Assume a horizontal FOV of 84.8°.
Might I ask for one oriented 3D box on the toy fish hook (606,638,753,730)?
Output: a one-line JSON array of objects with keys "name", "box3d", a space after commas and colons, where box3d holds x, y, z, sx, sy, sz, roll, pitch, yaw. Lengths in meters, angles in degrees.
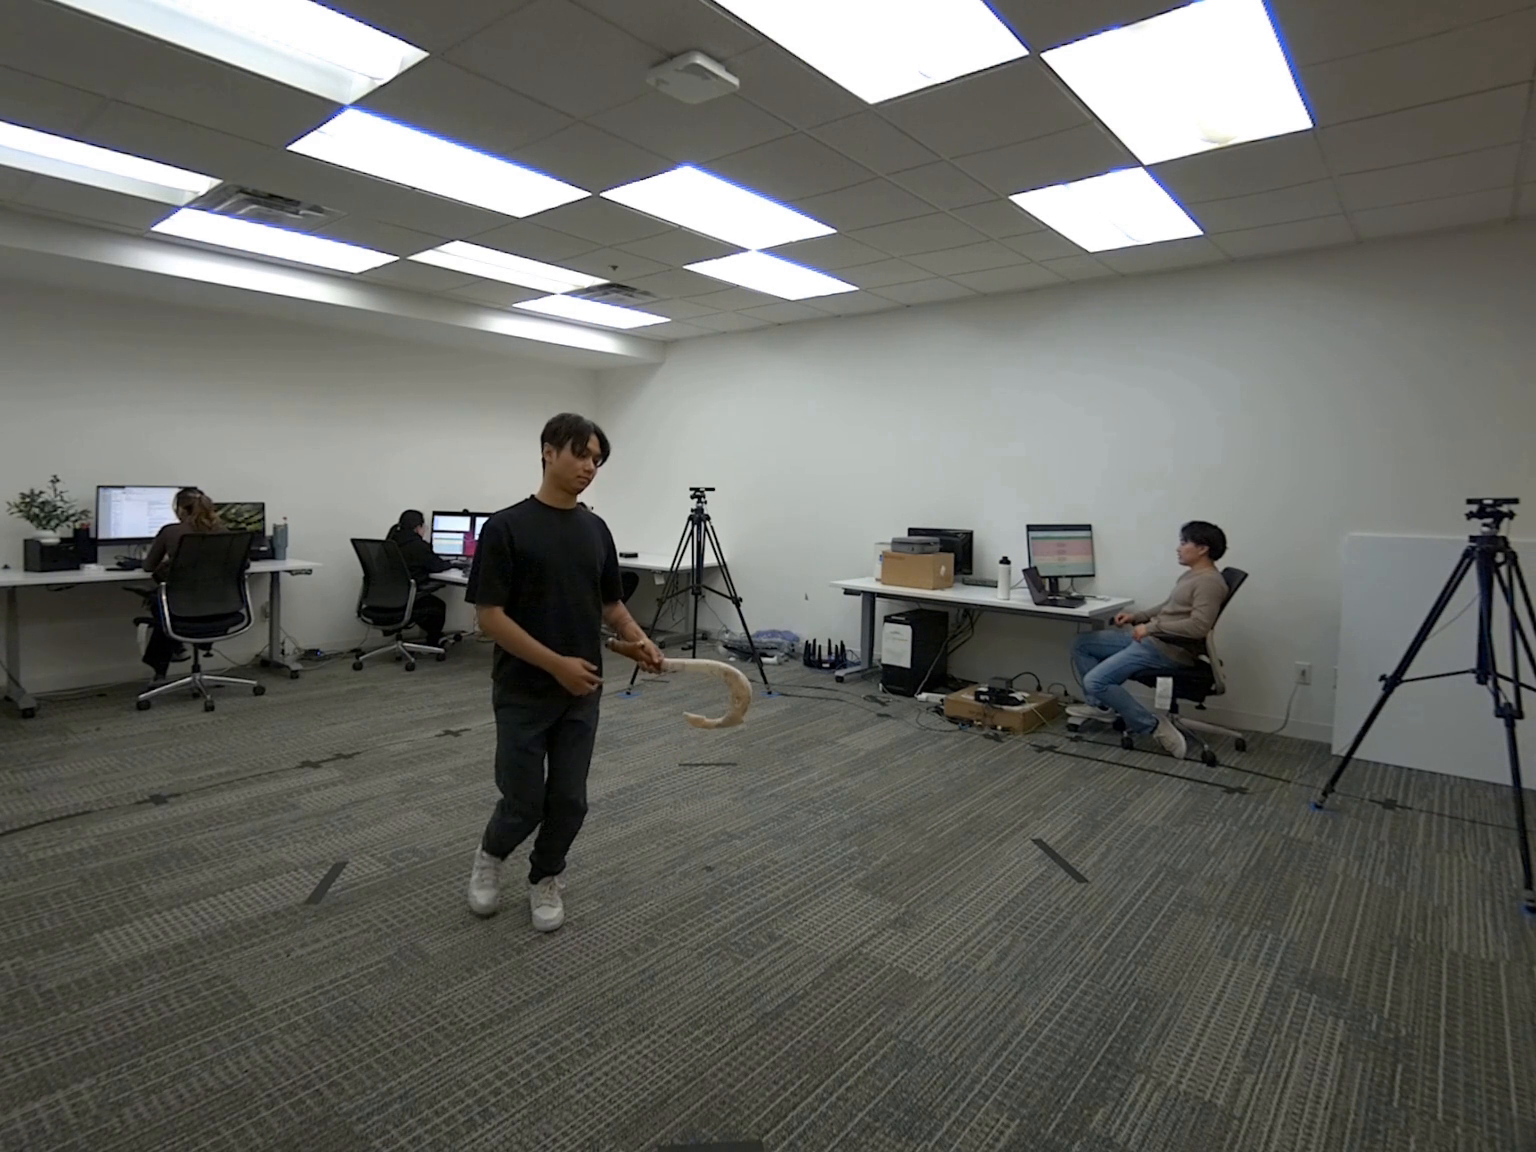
[{"name": "toy fish hook", "box3d": [-0.314, 0.341, 2.739, 0.513, 0.224, 0.048, 18, 2, 10]}]
